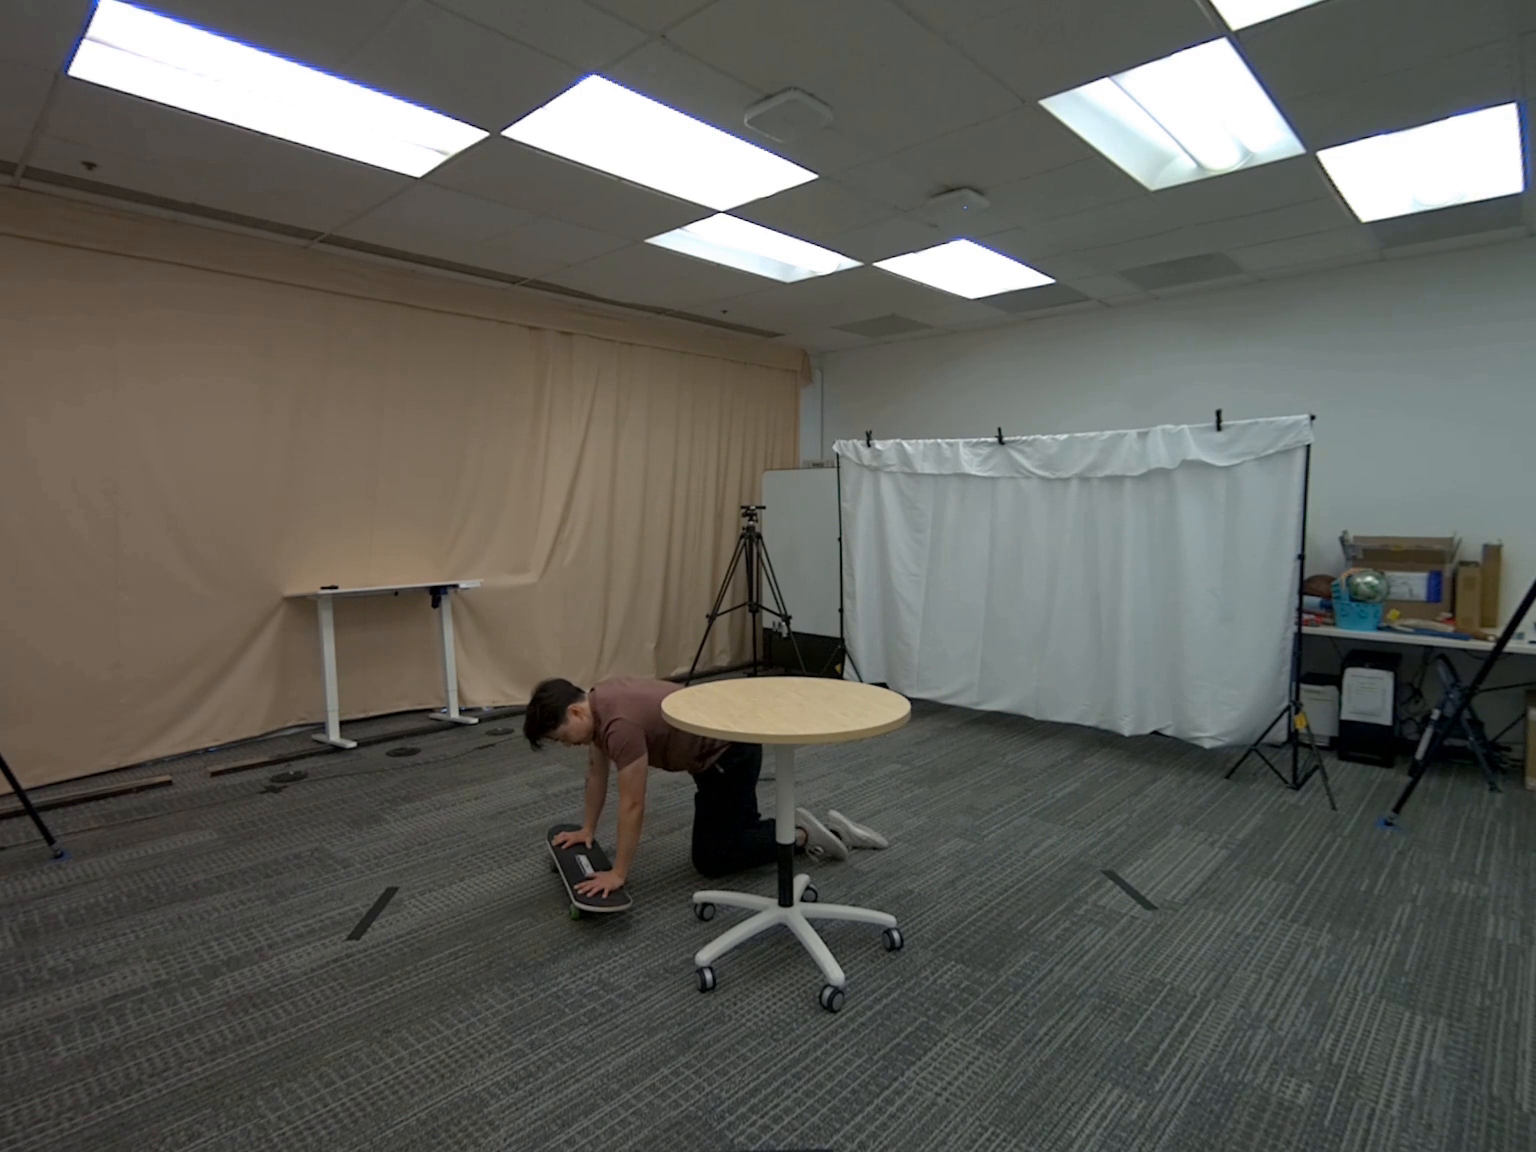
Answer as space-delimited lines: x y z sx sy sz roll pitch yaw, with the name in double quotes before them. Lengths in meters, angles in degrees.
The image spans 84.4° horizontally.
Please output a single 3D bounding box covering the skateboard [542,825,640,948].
"skateboard" -0.662 1.091 3.066 0.189 0.110 0.803 3 2 -22
